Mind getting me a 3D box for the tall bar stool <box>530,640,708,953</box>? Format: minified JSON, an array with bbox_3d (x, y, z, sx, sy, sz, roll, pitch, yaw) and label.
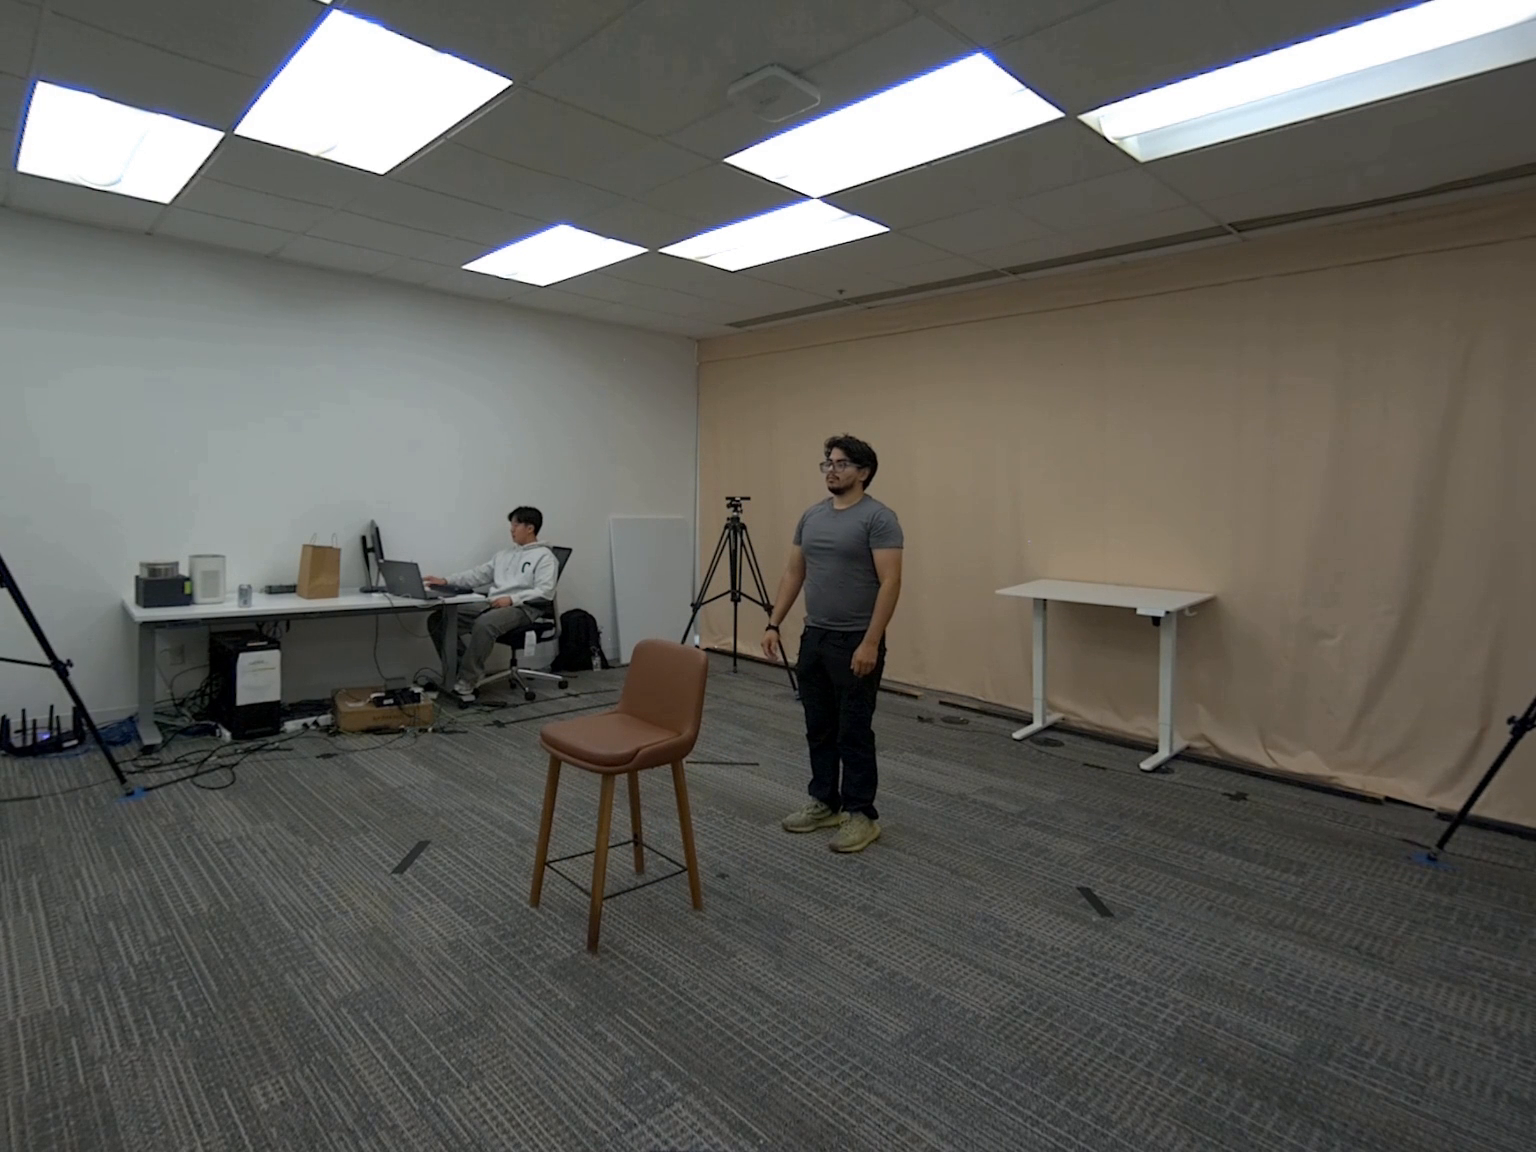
[{"bbox_3d":[-0.501,0.691,2.828,0.456,0.889,0.468,1,2,-41],"label":"tall bar stool"}]
